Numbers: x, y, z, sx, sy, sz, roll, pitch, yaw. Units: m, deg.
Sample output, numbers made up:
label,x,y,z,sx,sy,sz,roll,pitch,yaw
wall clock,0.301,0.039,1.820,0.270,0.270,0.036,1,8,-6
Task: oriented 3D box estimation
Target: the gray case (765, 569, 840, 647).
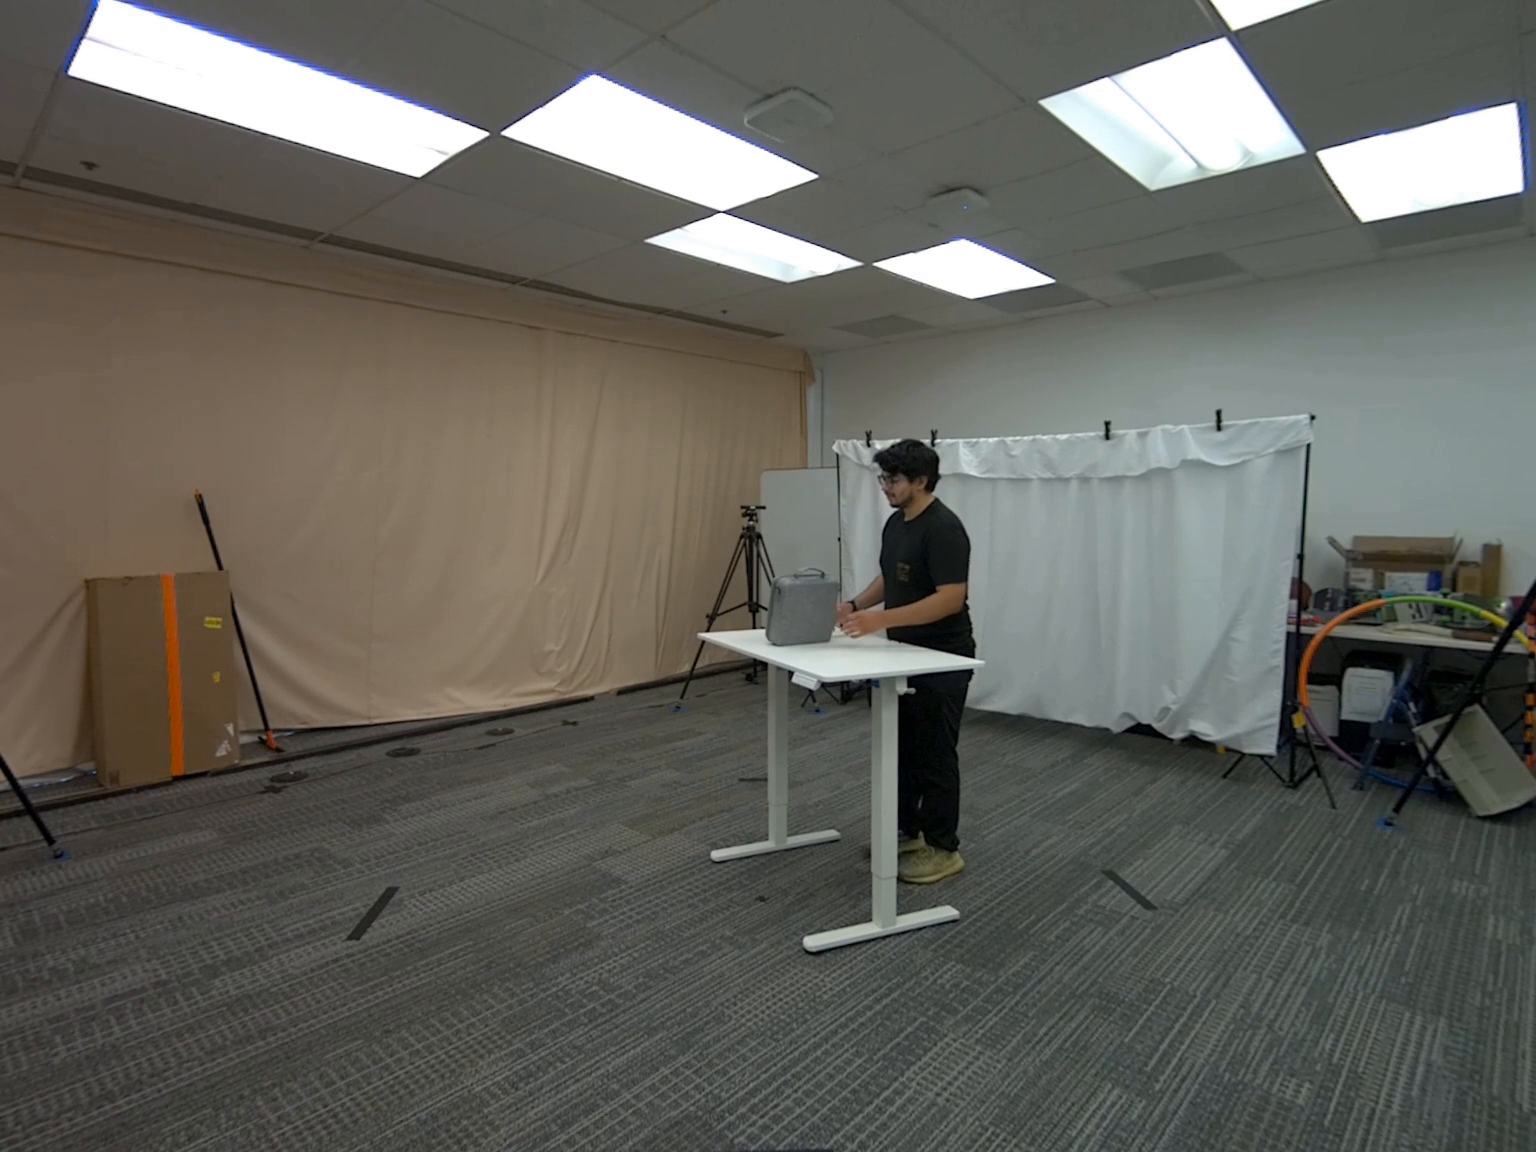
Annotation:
label,x,y,z,sx,sy,sz,roll,pitch,yaw
gray case,0.132,0.121,3.100,0.250,0.259,0.108,-2,17,-27
